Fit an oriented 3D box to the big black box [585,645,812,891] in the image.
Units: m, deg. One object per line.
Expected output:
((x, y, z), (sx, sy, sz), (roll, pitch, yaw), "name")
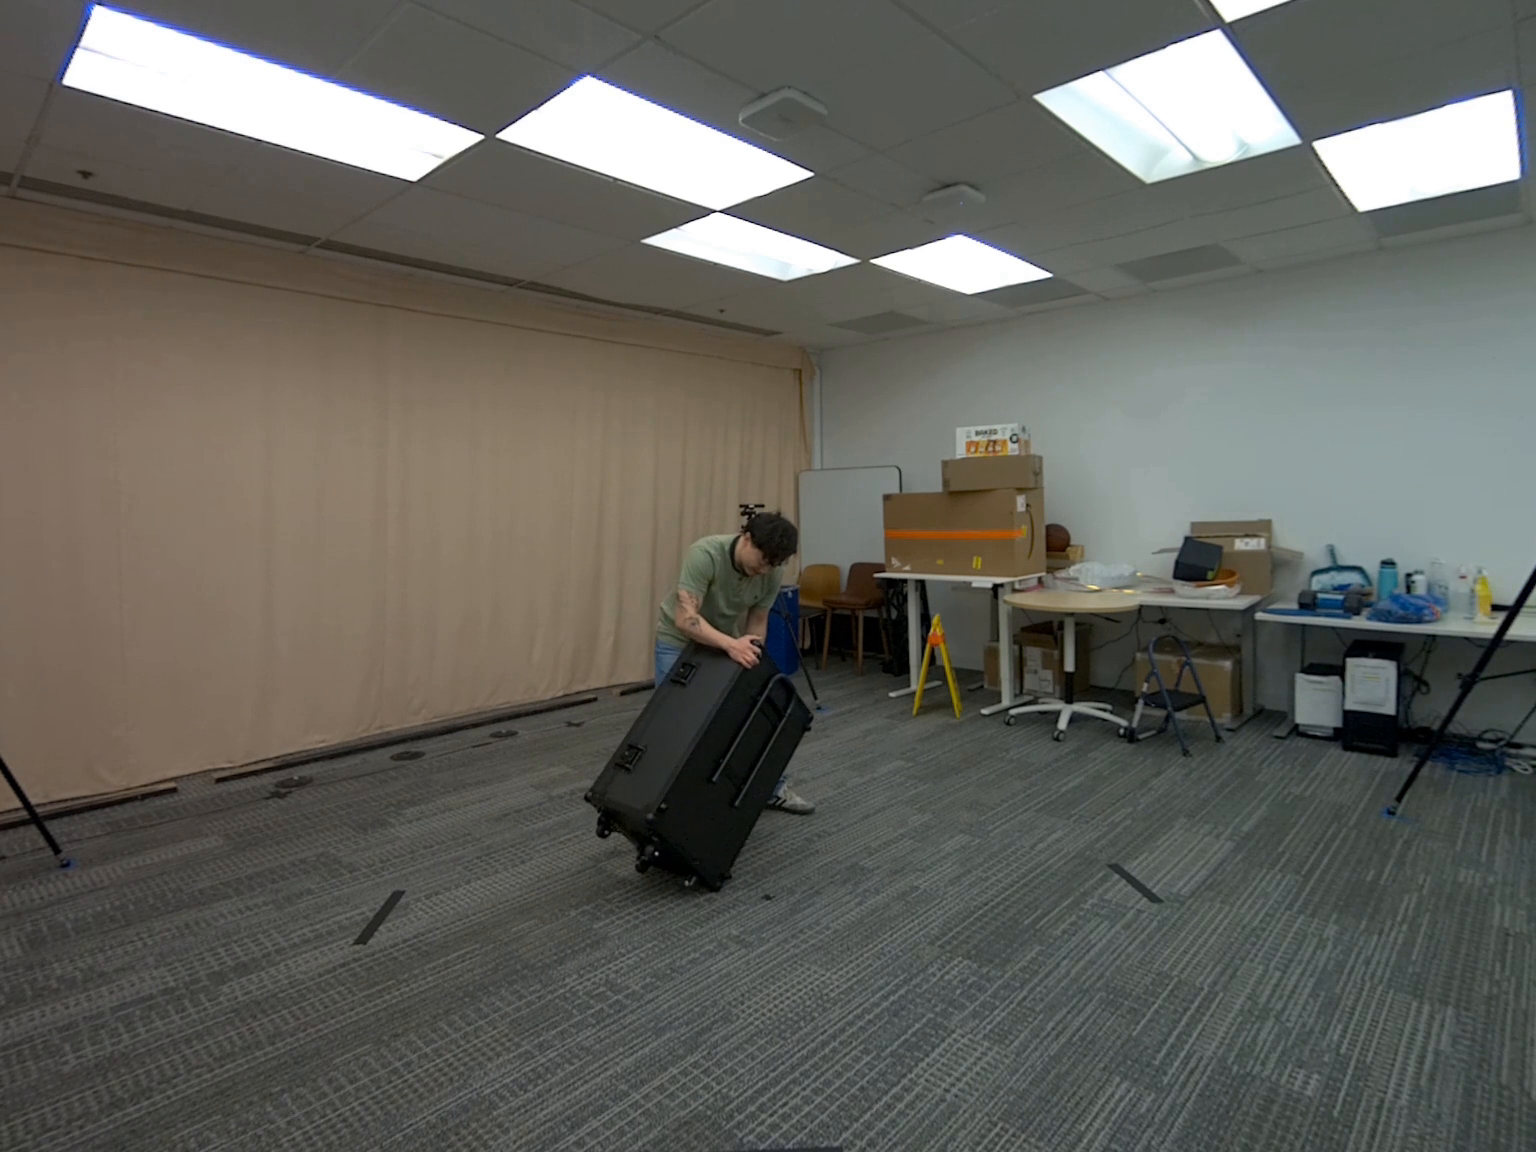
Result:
((-0.241, 0.712, 3.192), (0.409, 0.505, 0.859), (3, 49, 44), "big black box")
